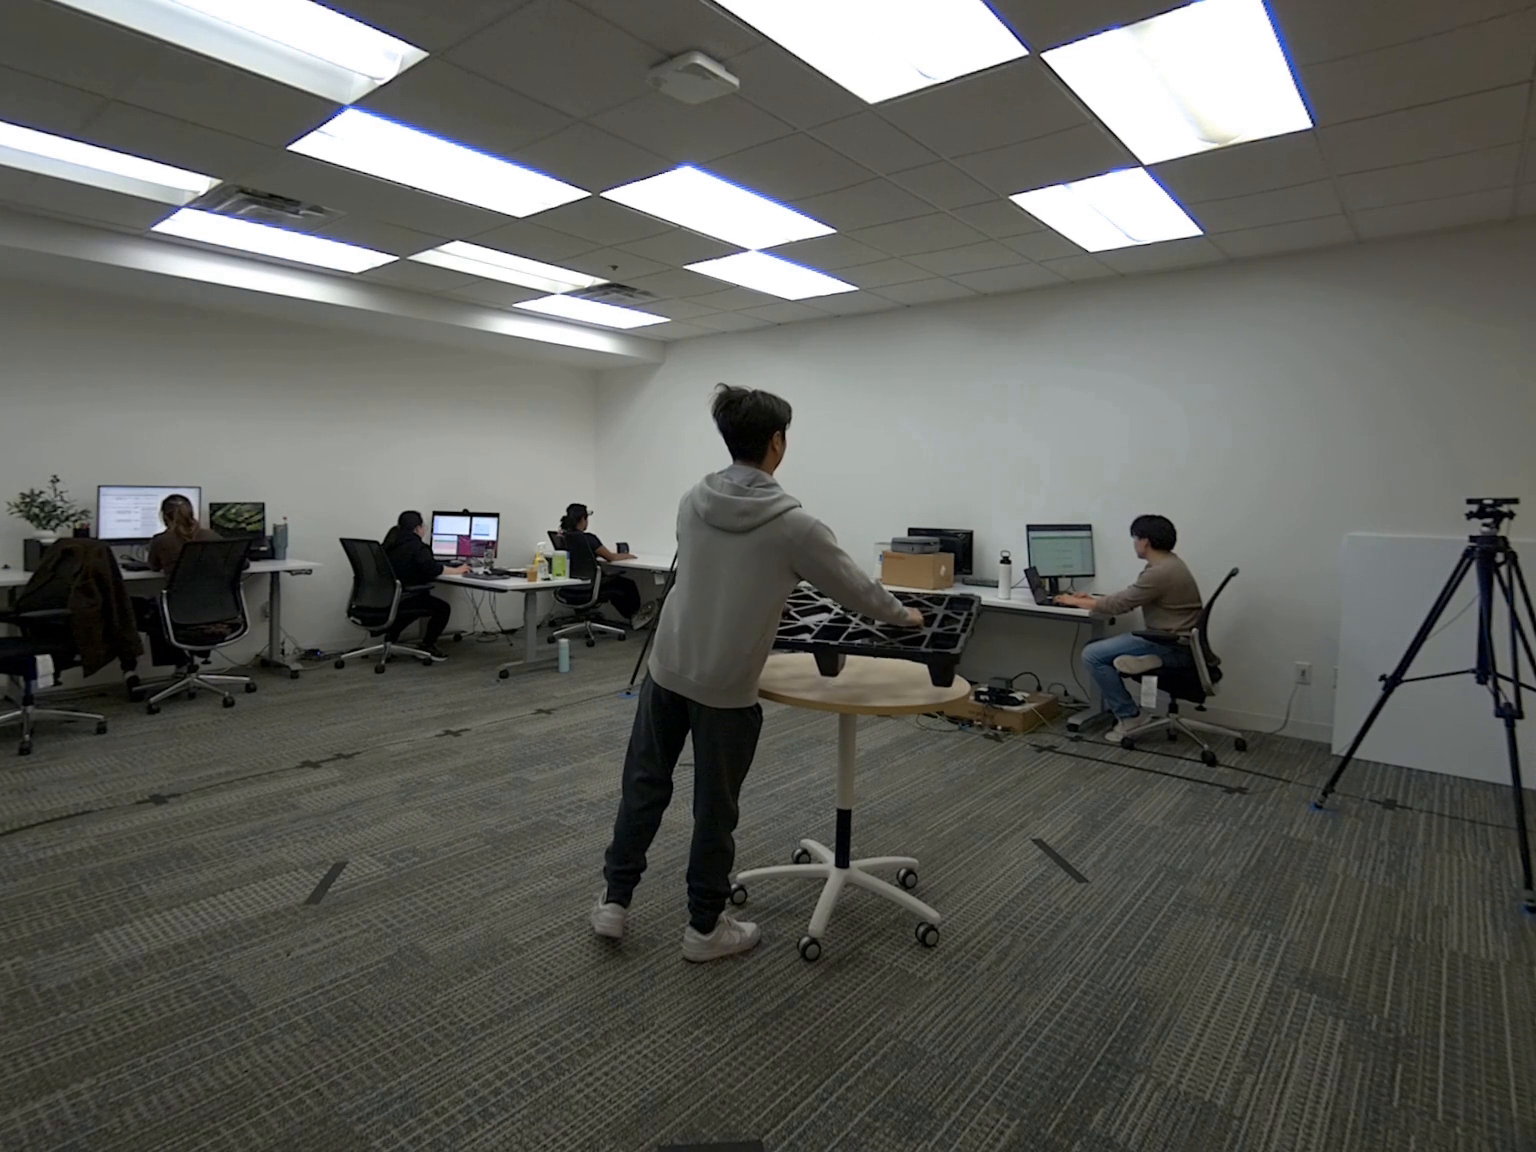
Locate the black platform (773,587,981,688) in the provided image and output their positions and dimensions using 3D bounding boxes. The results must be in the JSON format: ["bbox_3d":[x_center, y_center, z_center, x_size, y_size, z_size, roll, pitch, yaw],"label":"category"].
[{"bbox_3d":[0.258,0.182,2.796,0.824,0.141,0.600,2,16,22],"label":"black platform"}]
